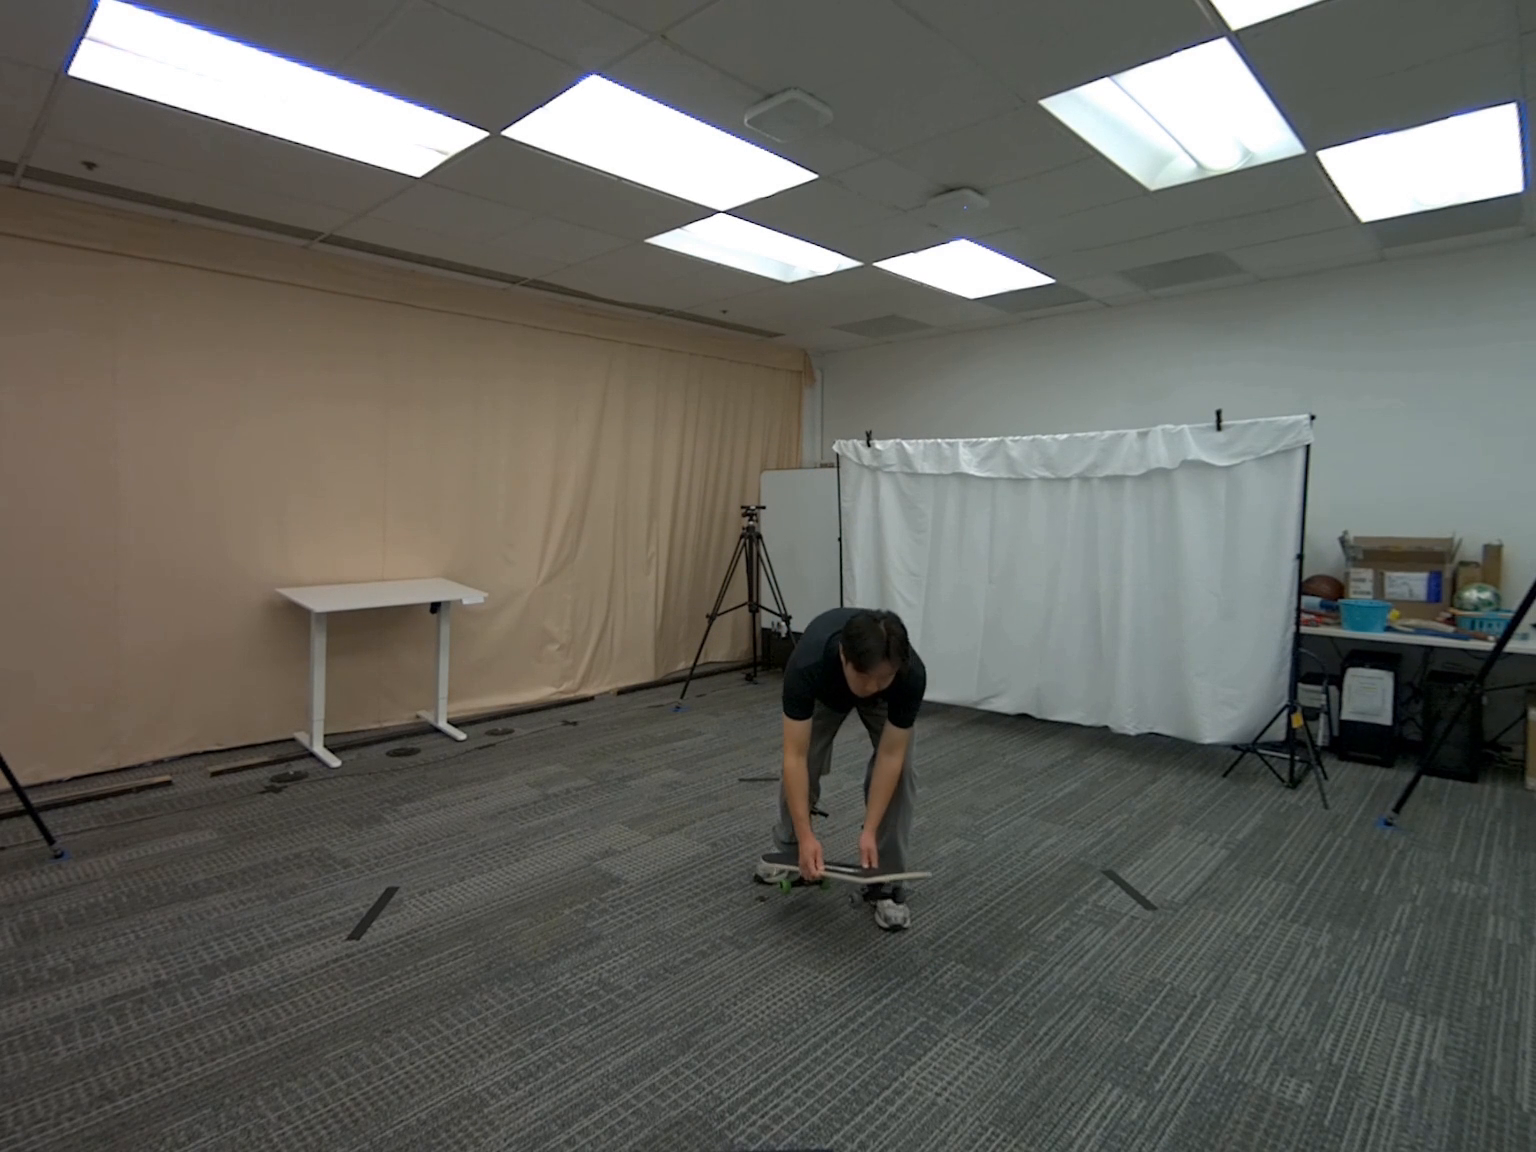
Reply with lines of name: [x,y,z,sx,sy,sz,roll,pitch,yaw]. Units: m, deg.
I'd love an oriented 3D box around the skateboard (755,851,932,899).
skateboard: [0.217,0.943,2.630,0.188,0.111,0.799,7,-15,-28]
